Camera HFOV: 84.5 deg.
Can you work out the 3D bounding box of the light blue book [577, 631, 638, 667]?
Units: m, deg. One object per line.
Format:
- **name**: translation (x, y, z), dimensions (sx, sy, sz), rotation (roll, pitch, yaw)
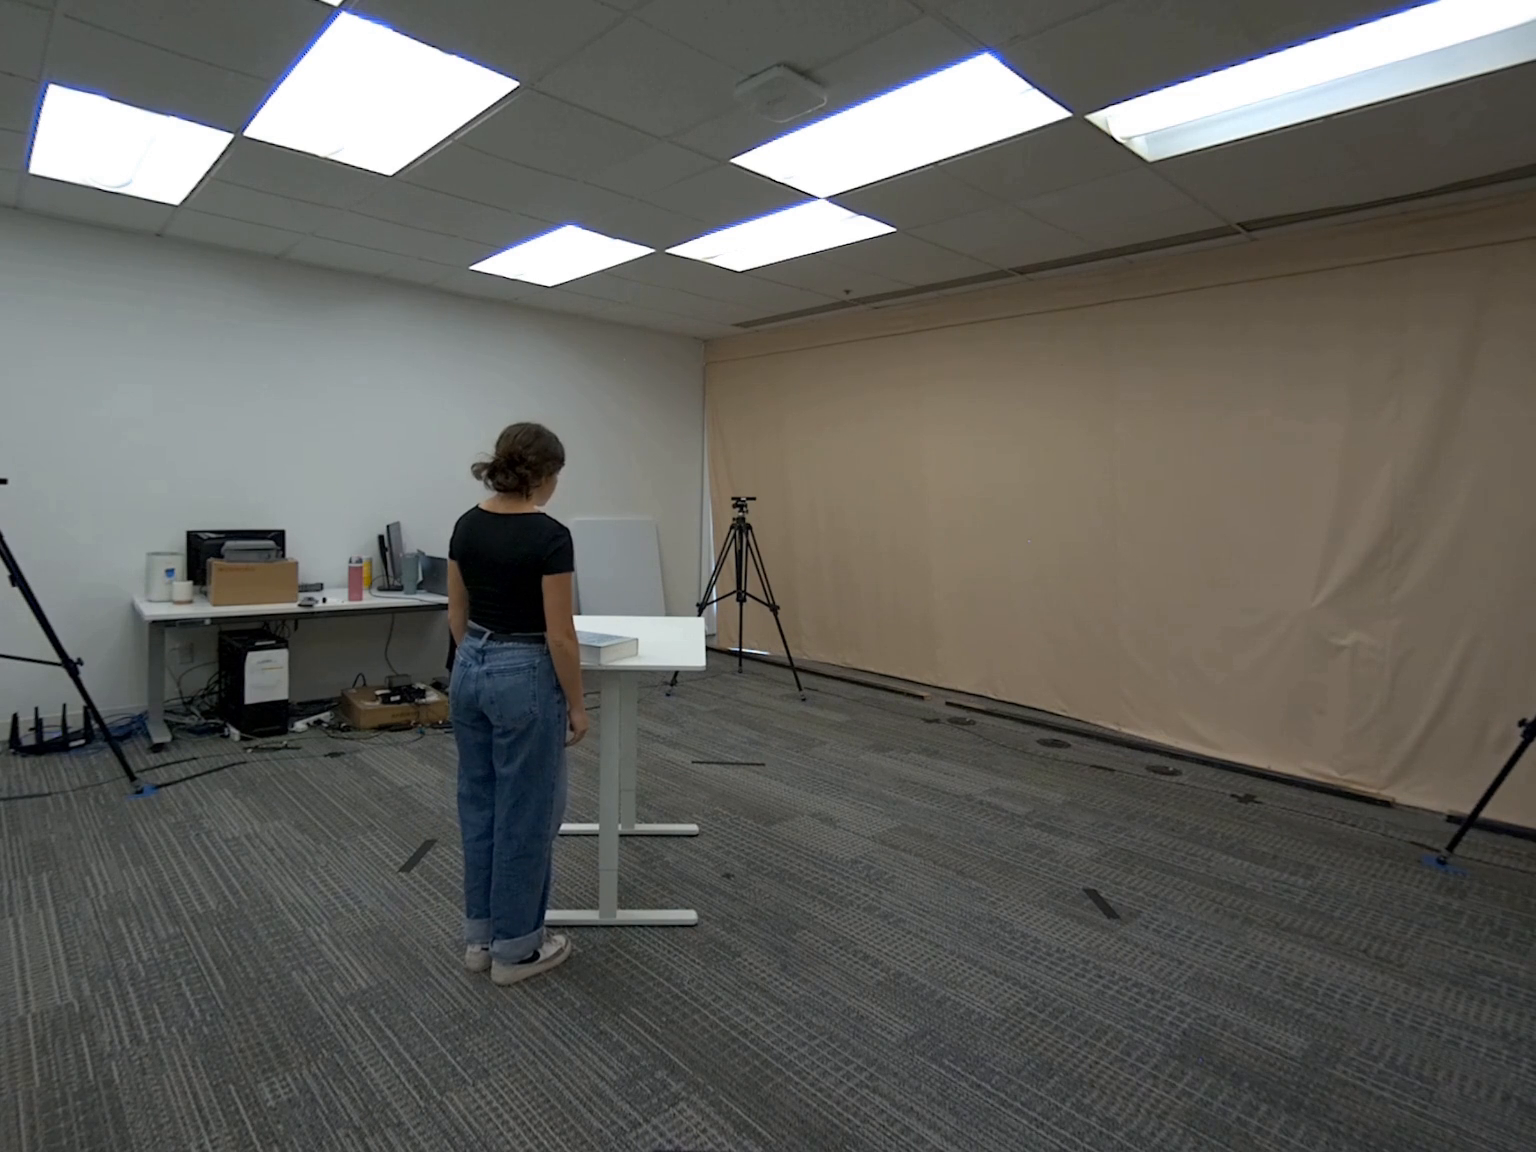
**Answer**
- **light blue book**: translation (-0.585, 0.228, 2.691), dimensions (0.267, 0.059, 0.188), rotation (4, 6, 30)
